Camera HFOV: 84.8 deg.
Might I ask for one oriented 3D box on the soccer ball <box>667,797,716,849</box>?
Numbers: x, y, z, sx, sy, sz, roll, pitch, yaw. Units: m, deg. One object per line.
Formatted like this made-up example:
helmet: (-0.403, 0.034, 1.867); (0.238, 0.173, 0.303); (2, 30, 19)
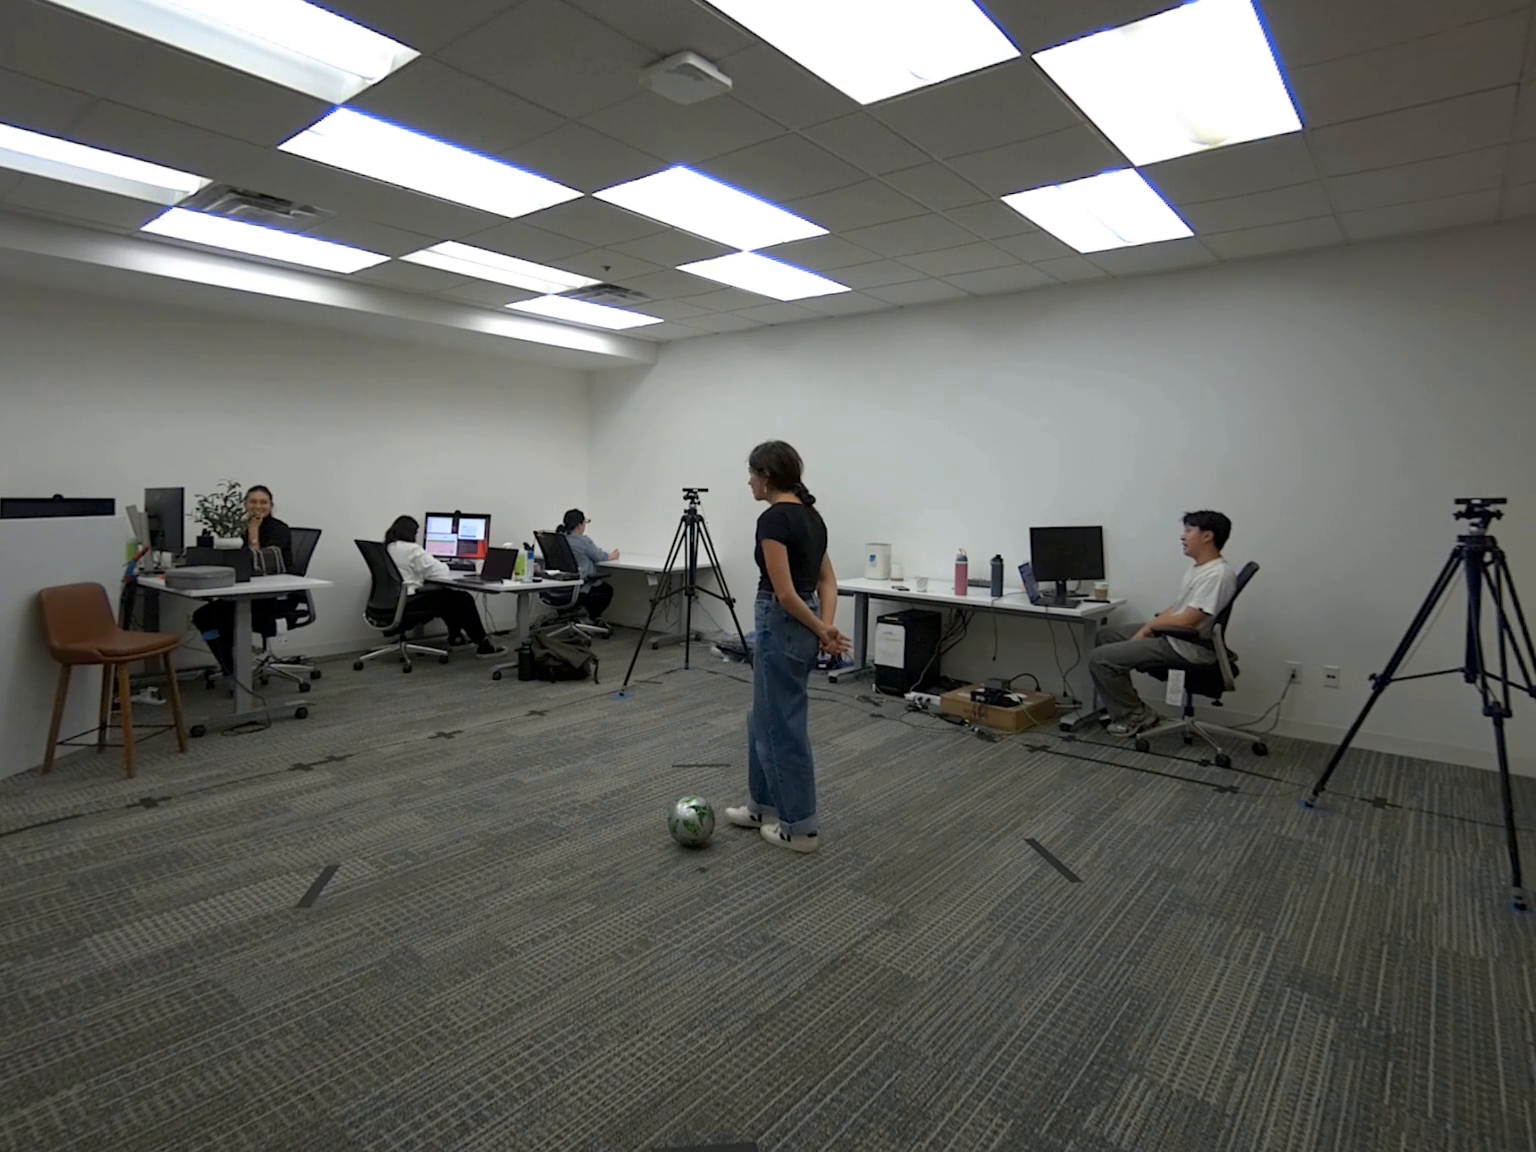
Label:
soccer ball: (-0.300, 0.948, 3.328); (0.187, 0.187, 0.188); (1, 4, -2)
